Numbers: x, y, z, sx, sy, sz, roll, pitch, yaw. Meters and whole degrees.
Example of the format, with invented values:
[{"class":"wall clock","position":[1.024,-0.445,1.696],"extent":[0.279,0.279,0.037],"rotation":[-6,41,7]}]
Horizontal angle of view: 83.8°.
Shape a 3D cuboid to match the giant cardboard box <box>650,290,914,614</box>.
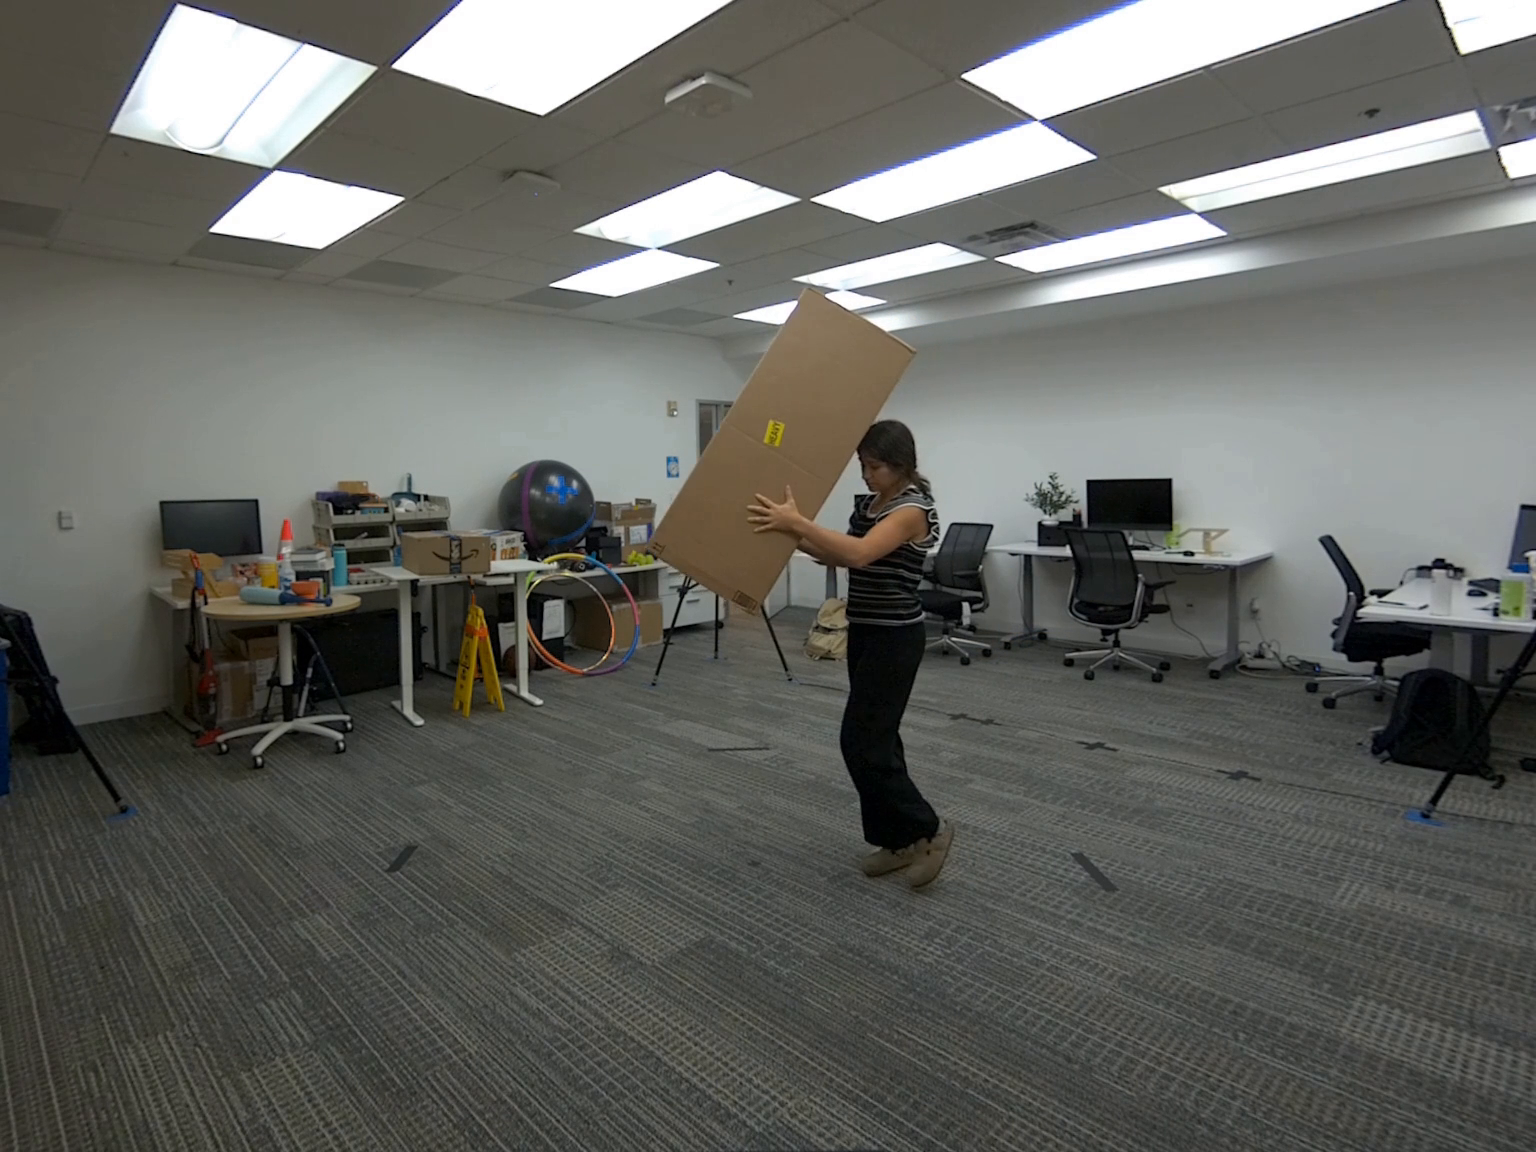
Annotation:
[{"class":"giant cardboard box","position":[0.028,-0.404,3.059],"extent":[0.427,1.026,0.577],"rotation":[31,-2,-1]}]
